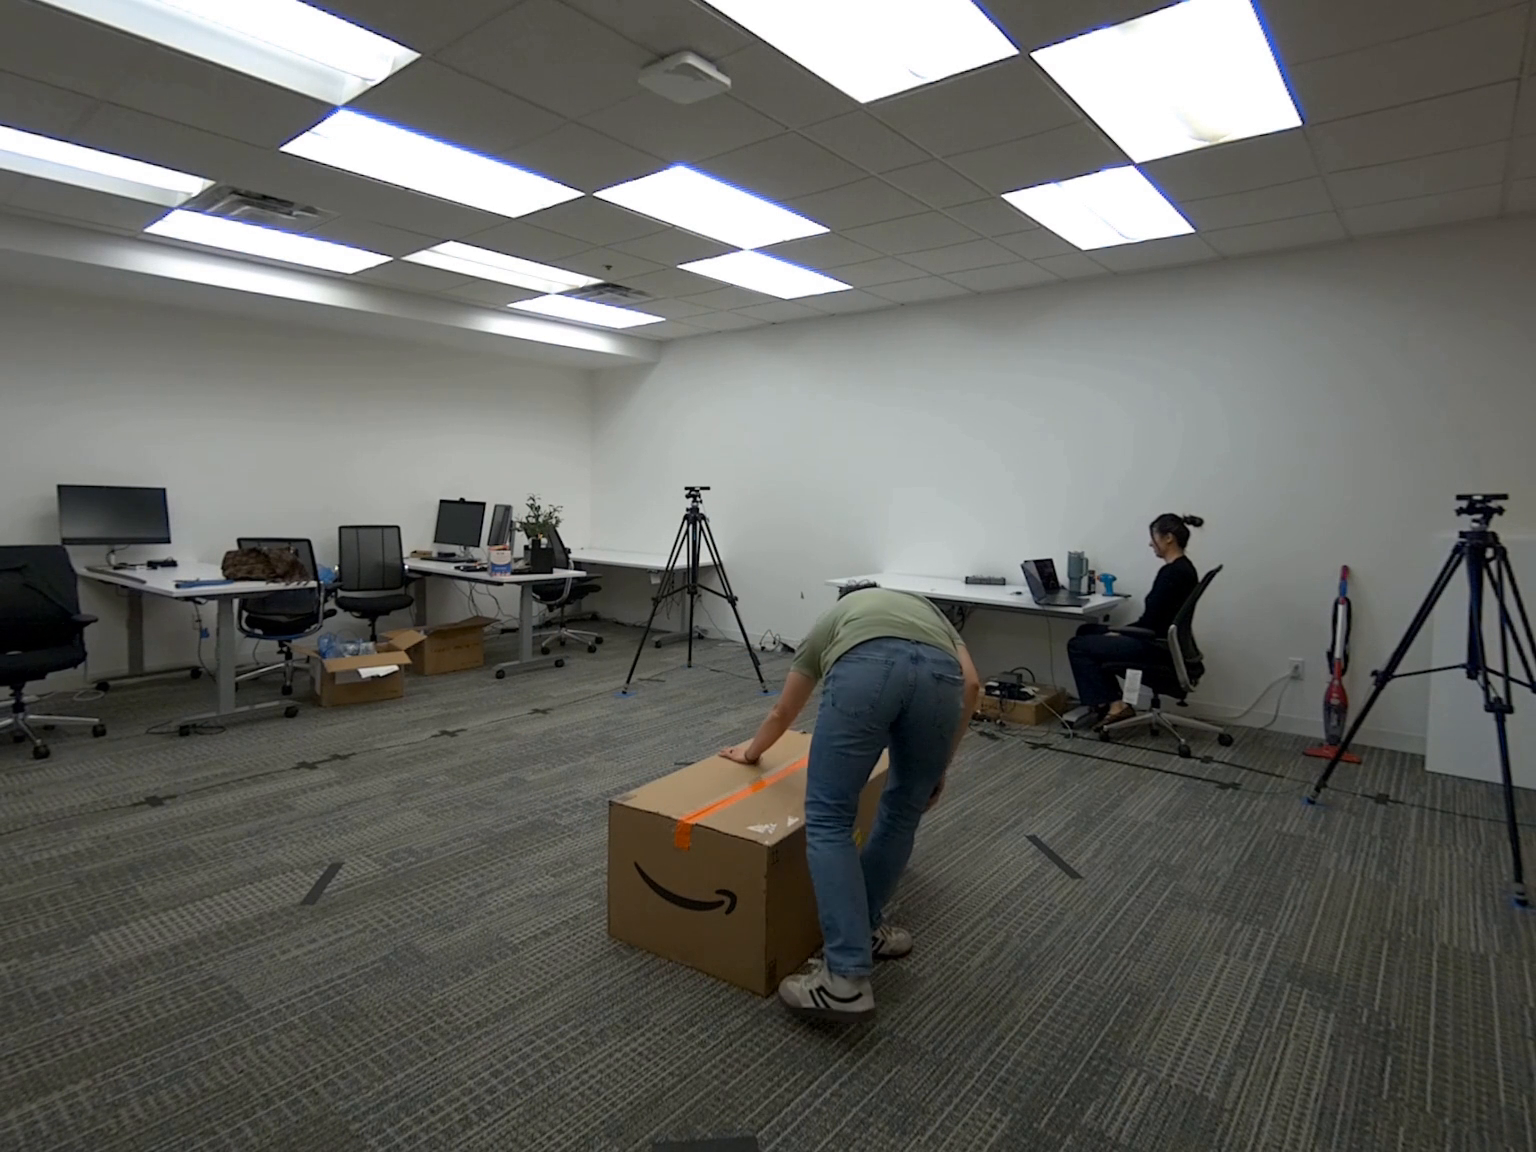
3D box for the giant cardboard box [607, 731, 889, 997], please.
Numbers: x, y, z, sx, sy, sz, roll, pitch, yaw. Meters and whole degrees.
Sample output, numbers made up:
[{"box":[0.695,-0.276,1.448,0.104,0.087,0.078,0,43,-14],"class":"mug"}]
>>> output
[{"box":[-0.002,0.879,2.885,0.595,0.425,0.998,4,6,32],"class":"giant cardboard box"}]
